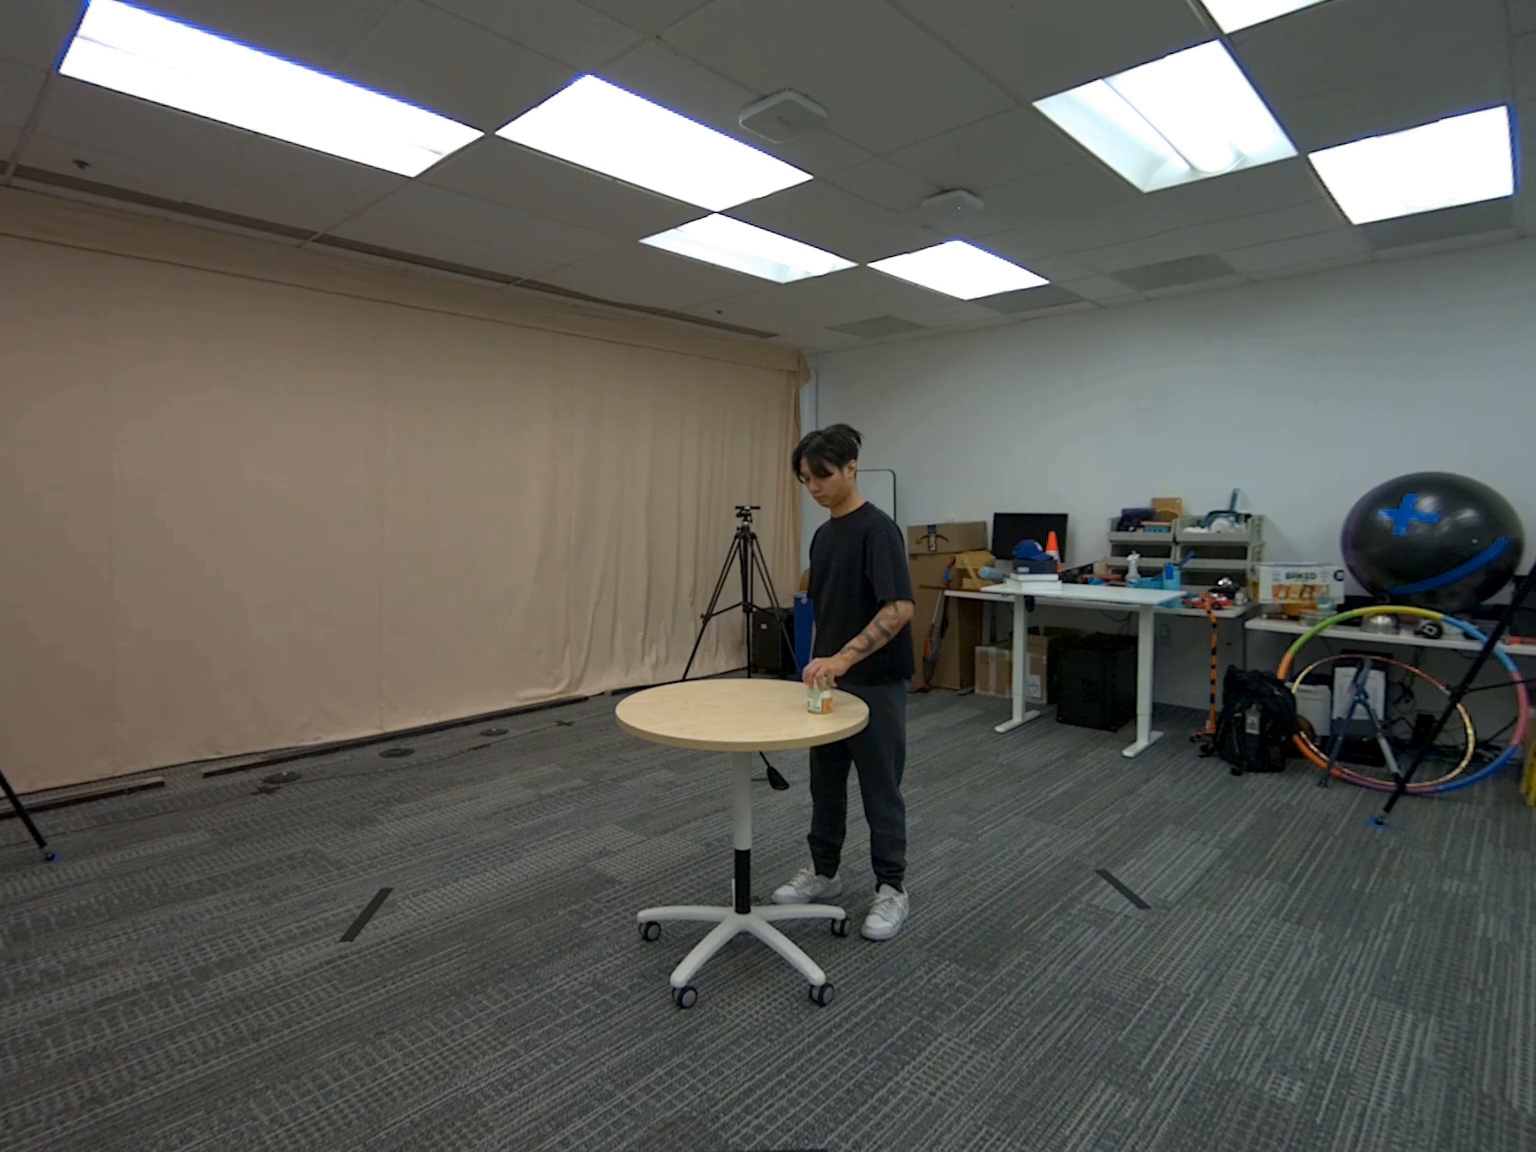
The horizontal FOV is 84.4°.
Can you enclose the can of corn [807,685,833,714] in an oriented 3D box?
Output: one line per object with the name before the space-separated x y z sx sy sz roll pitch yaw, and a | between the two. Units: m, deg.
can of corn | 0.158 0.342 2.497 0.074 0.111 0.074 2 4 -2
